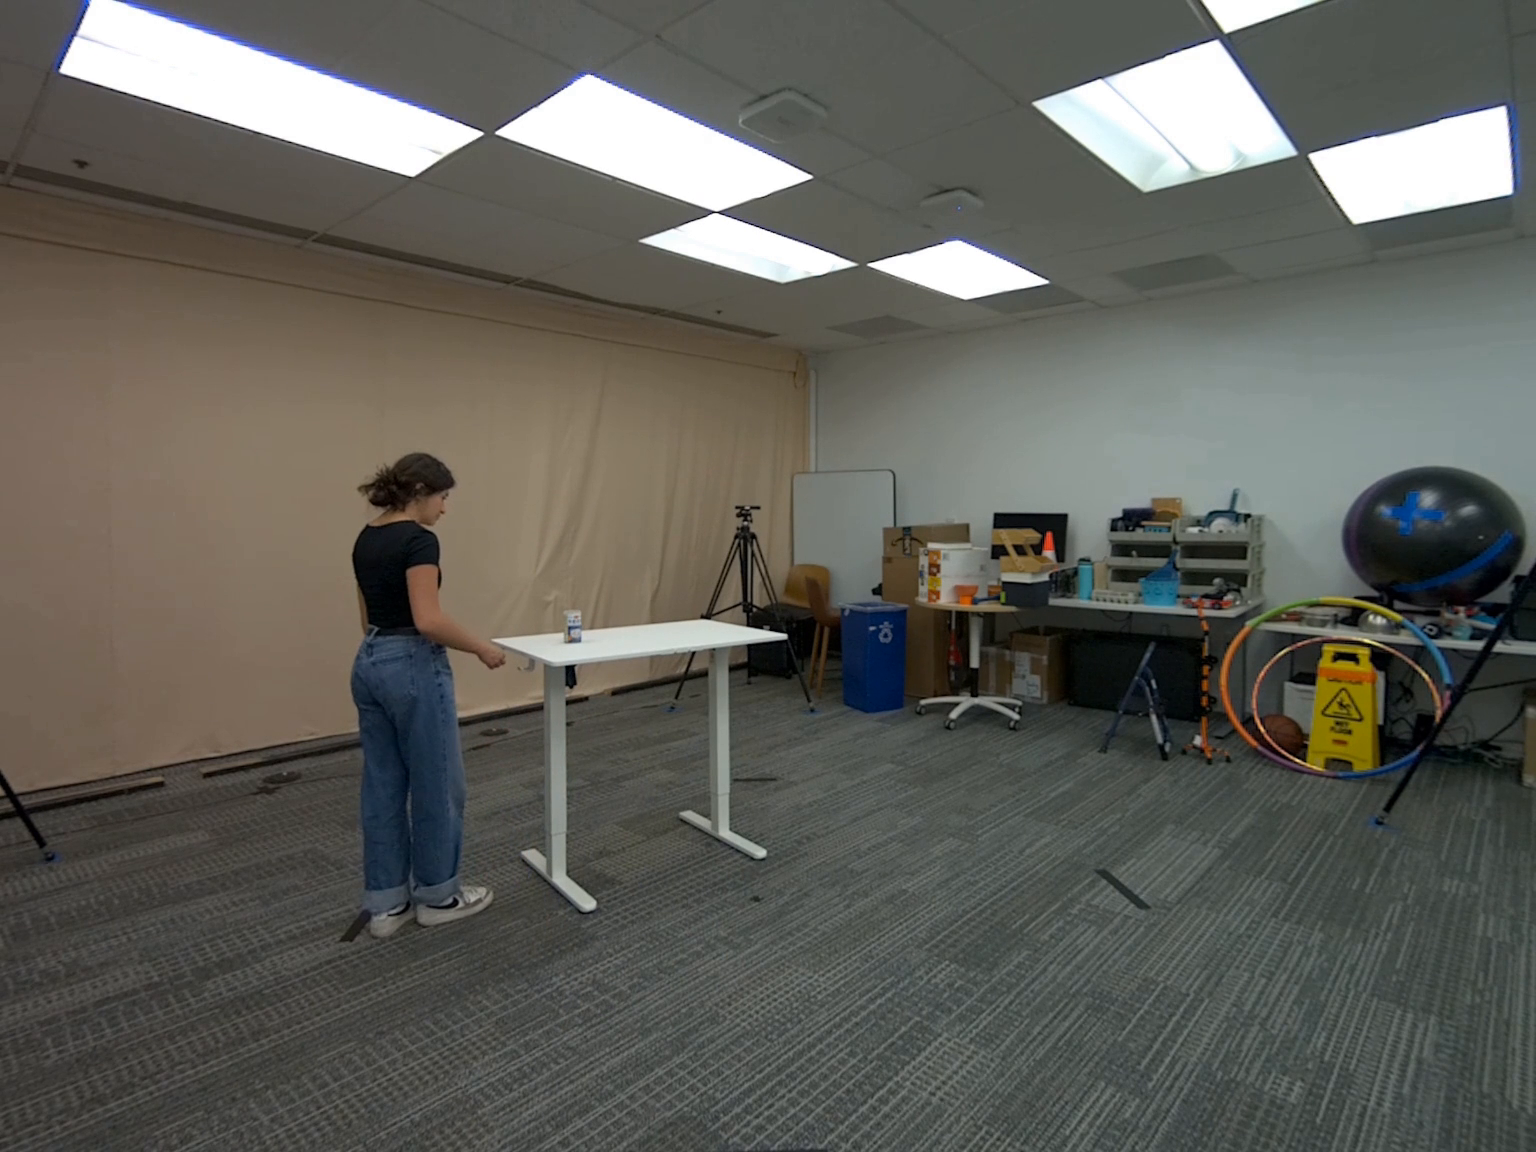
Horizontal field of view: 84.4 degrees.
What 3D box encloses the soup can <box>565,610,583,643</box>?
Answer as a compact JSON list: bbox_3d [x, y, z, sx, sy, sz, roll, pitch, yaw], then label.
[{"bbox_3d":[-0.738,0.192,3.181,0.067,0.121,0.067,4,1,-2],"label":"soup can"}]
